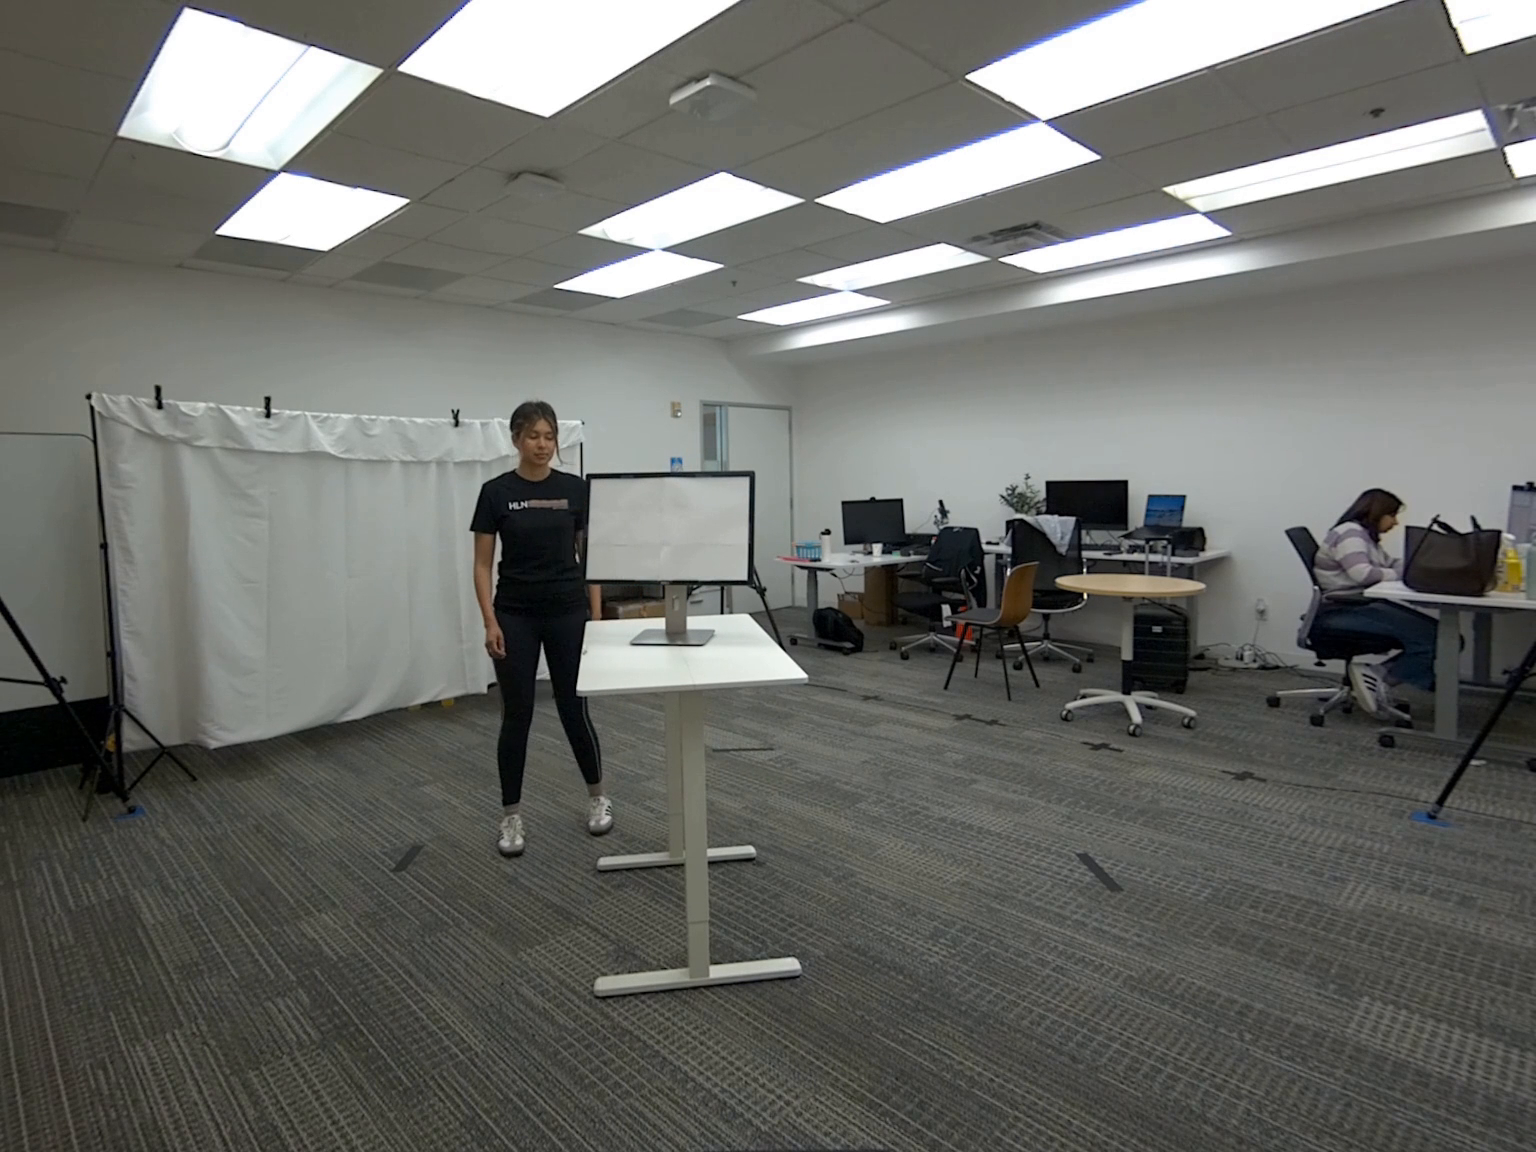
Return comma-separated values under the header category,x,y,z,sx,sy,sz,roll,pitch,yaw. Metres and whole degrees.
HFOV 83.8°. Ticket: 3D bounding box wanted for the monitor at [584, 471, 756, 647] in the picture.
category,x,y,z,sx,sy,sz,roll,pitch,yaw
monitor,-0.299,-0.054,2.763,0.542,0.520,0.187,0,4,6
